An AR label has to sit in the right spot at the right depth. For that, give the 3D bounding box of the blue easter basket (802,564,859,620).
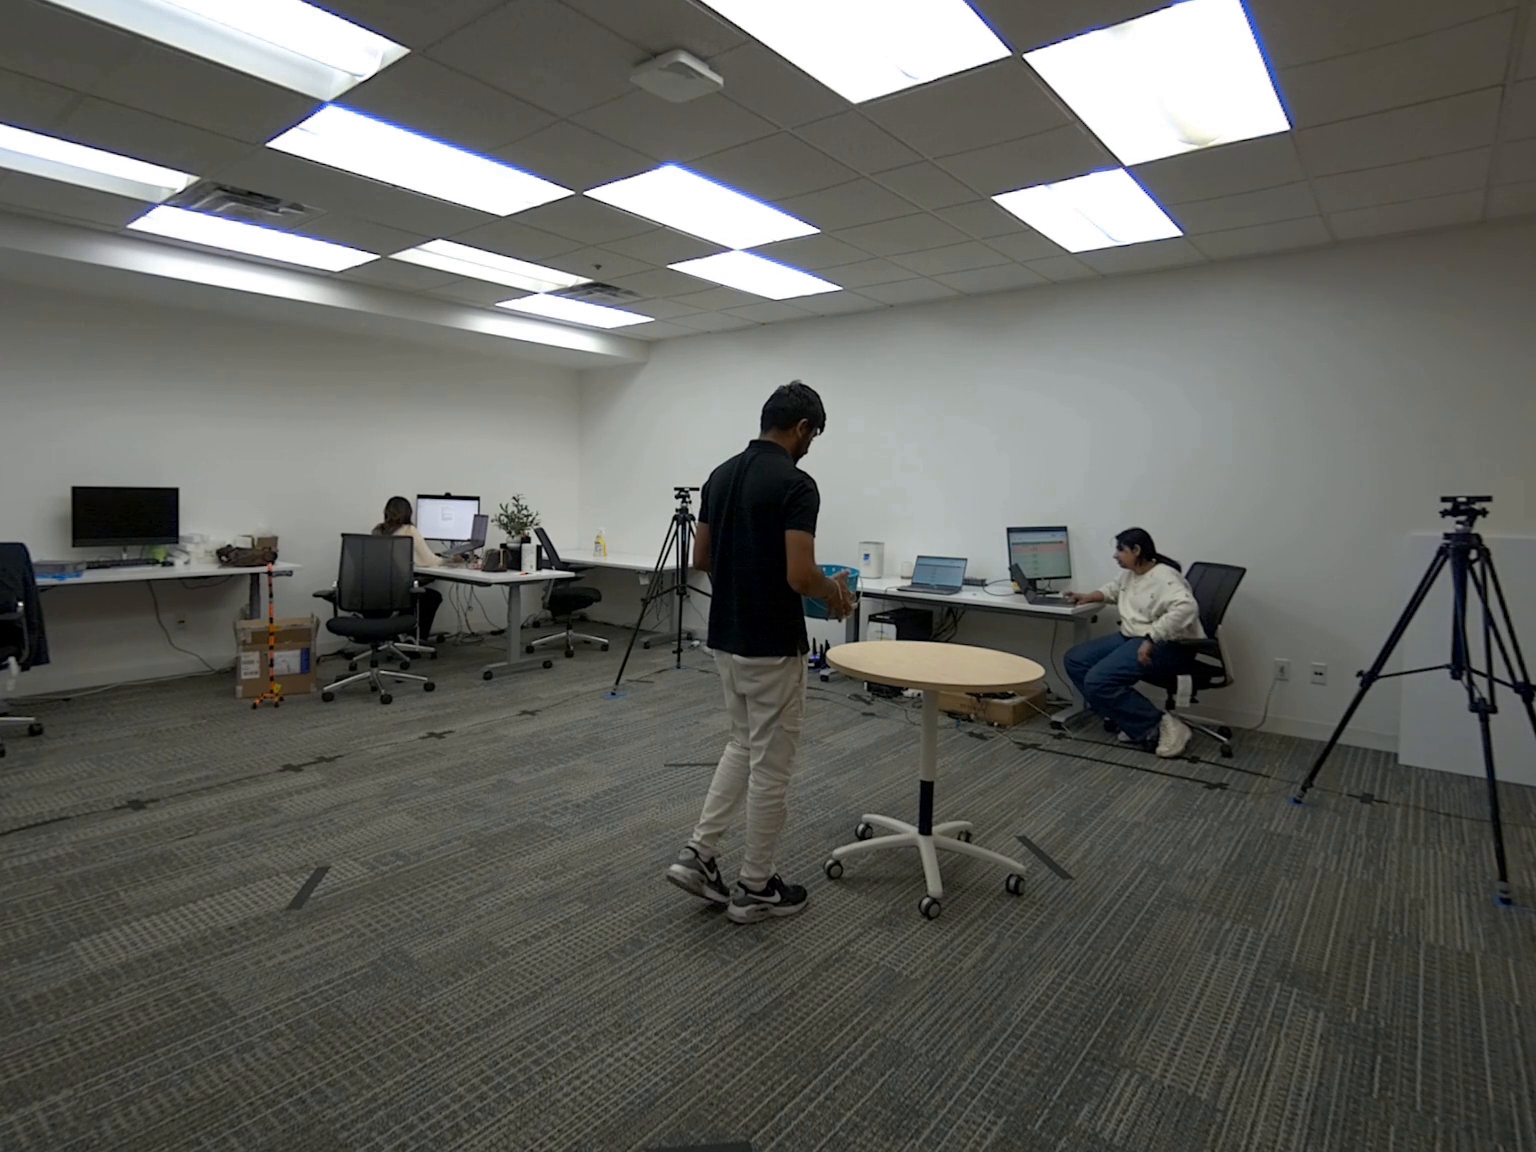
[{"bbox_3d":[0.192,0.059,2.901,0.243,0.154,0.246,0,9,-2],"label":"blue easter basket"}]
